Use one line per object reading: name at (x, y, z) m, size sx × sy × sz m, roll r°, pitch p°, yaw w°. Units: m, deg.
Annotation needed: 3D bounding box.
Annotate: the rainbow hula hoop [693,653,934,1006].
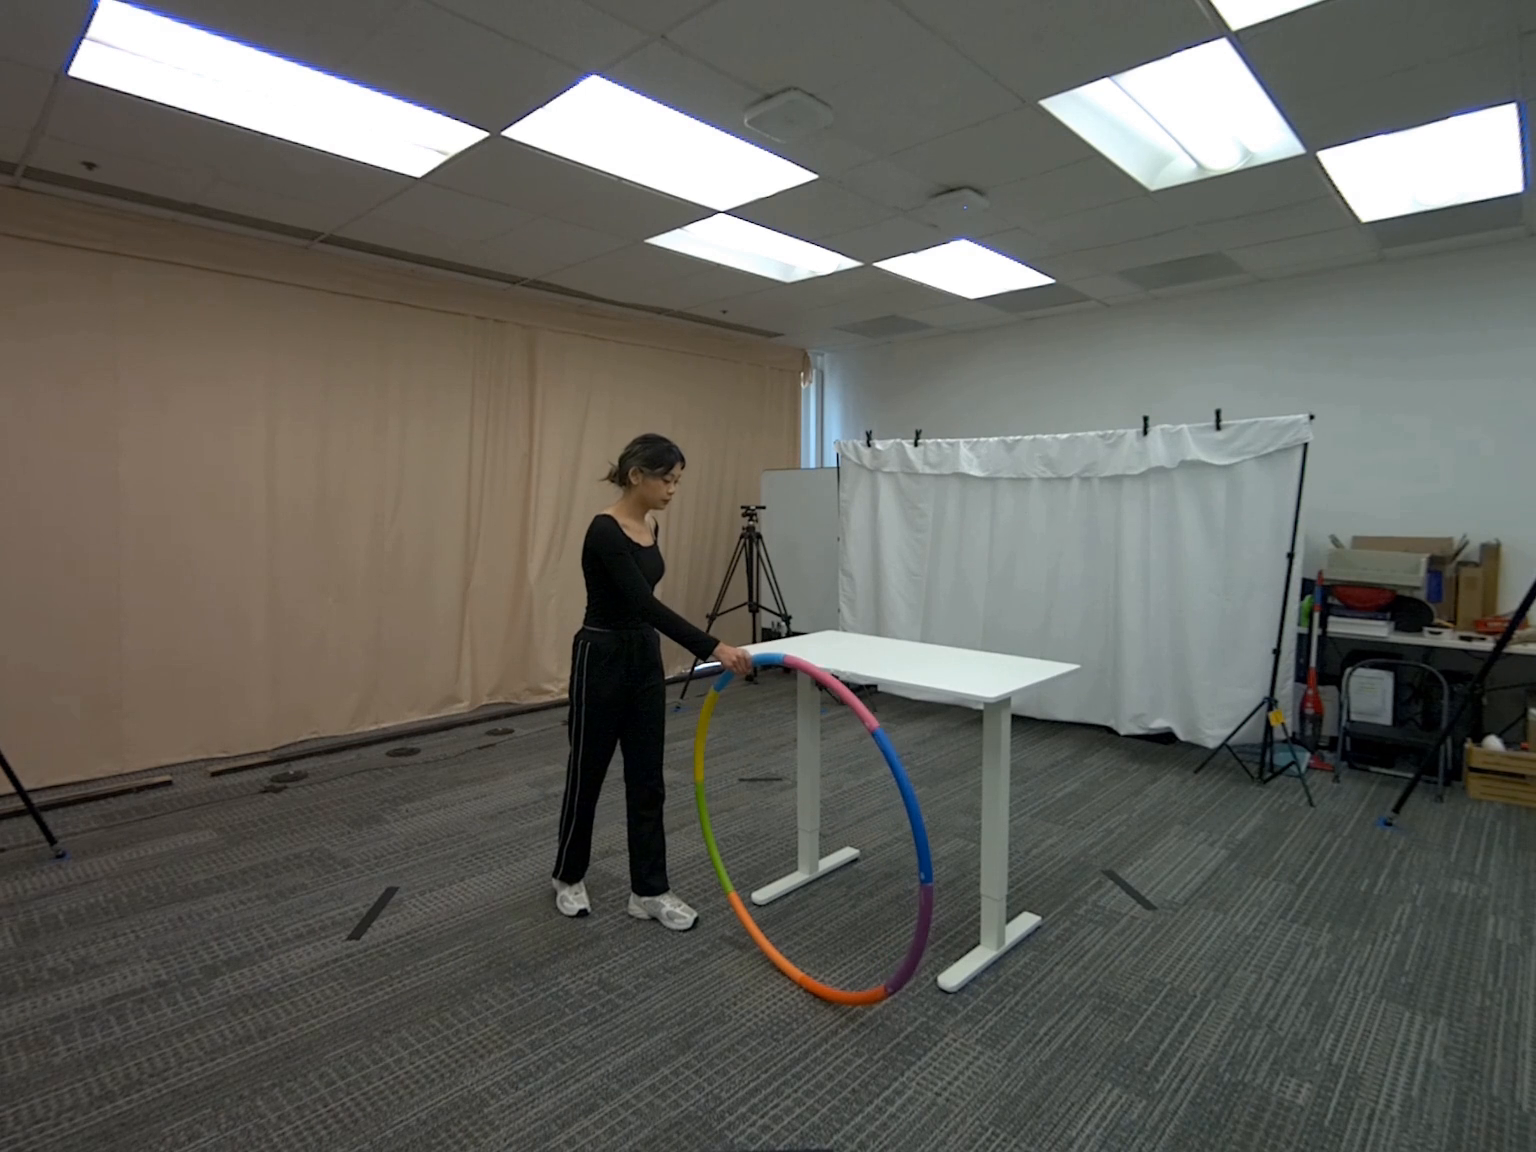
rainbow hula hoop at (0.079, 0.707, 2.407) m, size 0.034 × 0.975 × 1.010 m, roll -7°, pitch 7°, yaw -37°
